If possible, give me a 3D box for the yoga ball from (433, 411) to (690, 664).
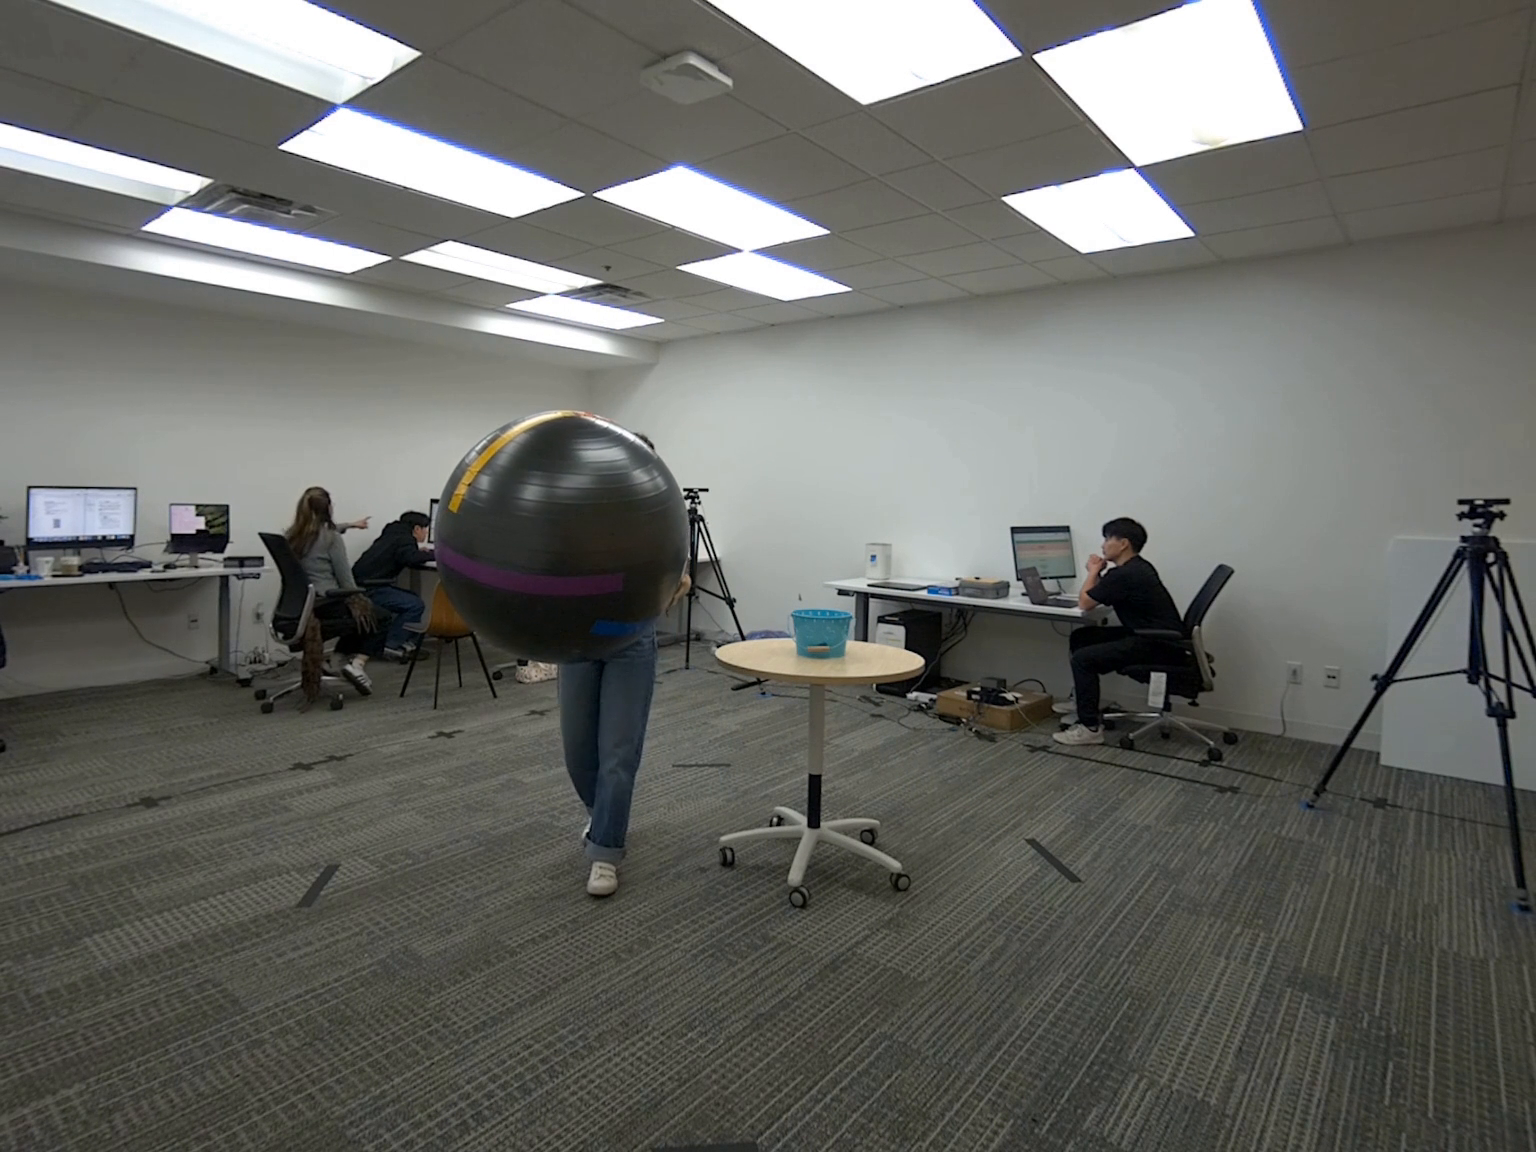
[{"bbox_3d":[-0.626,-0.108,2.566,0.757,0.755,0.762,1,4,-2],"label":"yoga ball"}]
